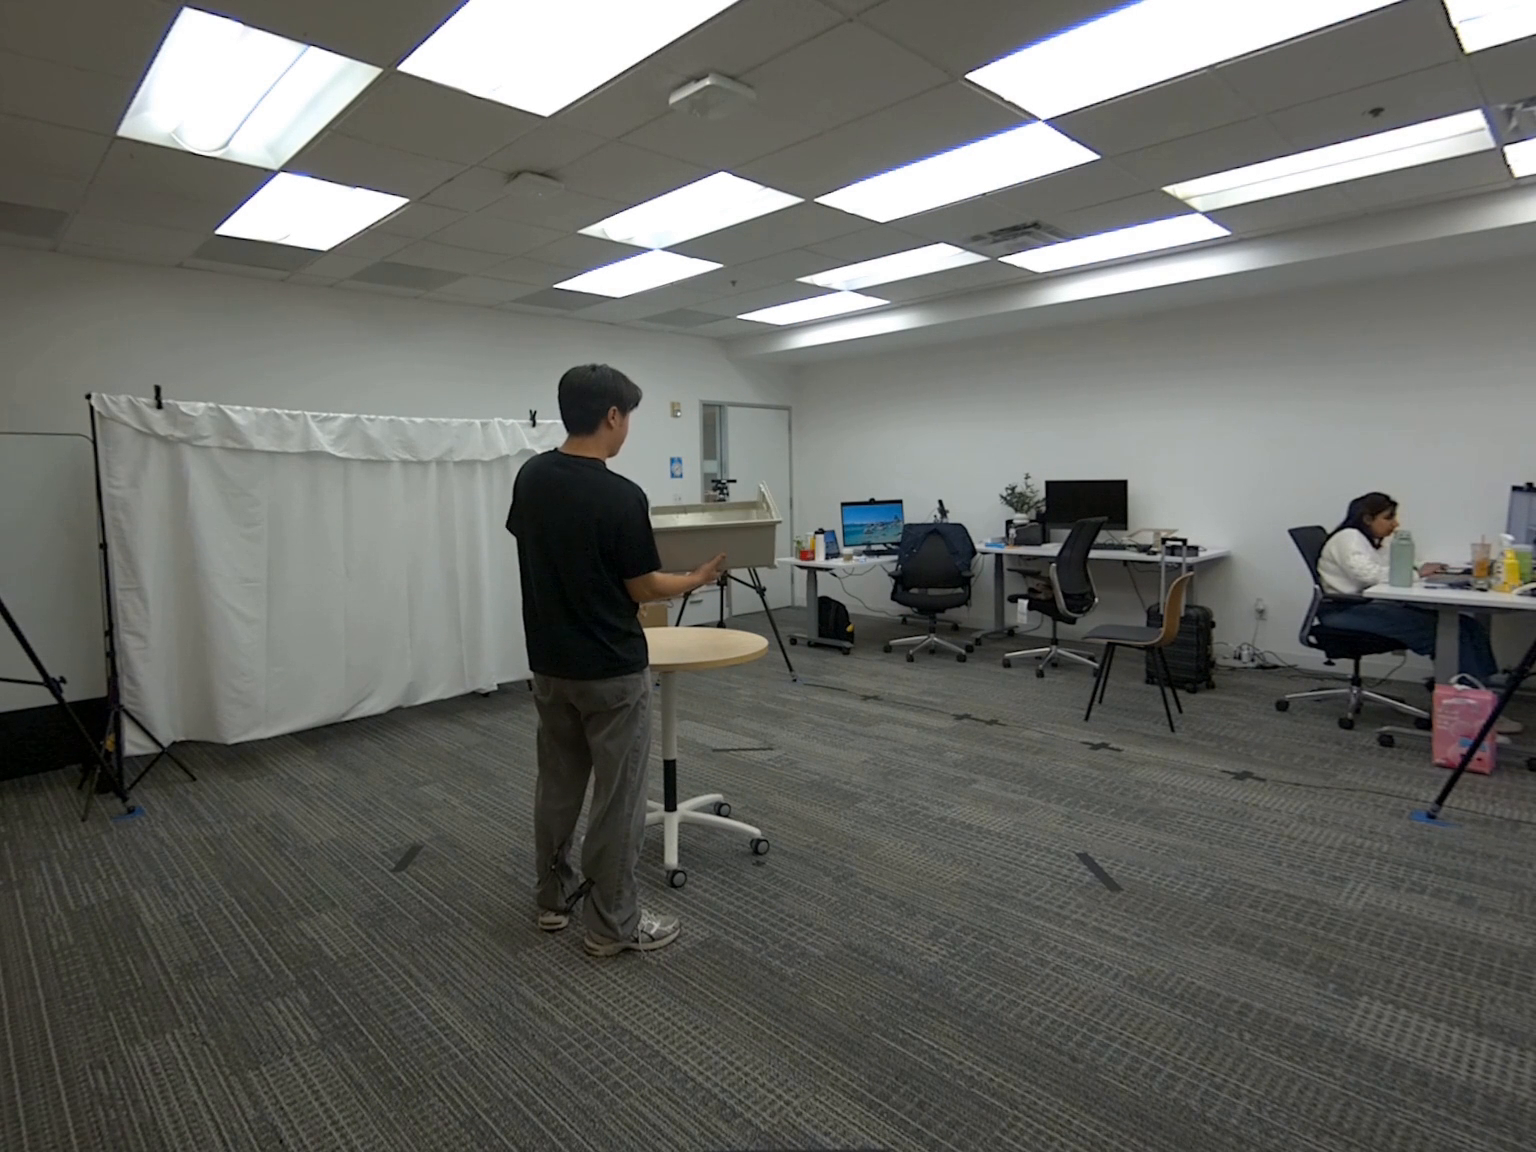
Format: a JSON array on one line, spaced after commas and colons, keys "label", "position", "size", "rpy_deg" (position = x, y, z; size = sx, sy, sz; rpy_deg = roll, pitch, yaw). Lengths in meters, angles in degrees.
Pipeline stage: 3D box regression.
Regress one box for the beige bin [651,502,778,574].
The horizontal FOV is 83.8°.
[{"label": "beige bin", "position": [-0.198, -0.164, 2.861], "size": [0.419, 0.185, 0.388], "rpy_deg": [-5, 28, -9]}]
